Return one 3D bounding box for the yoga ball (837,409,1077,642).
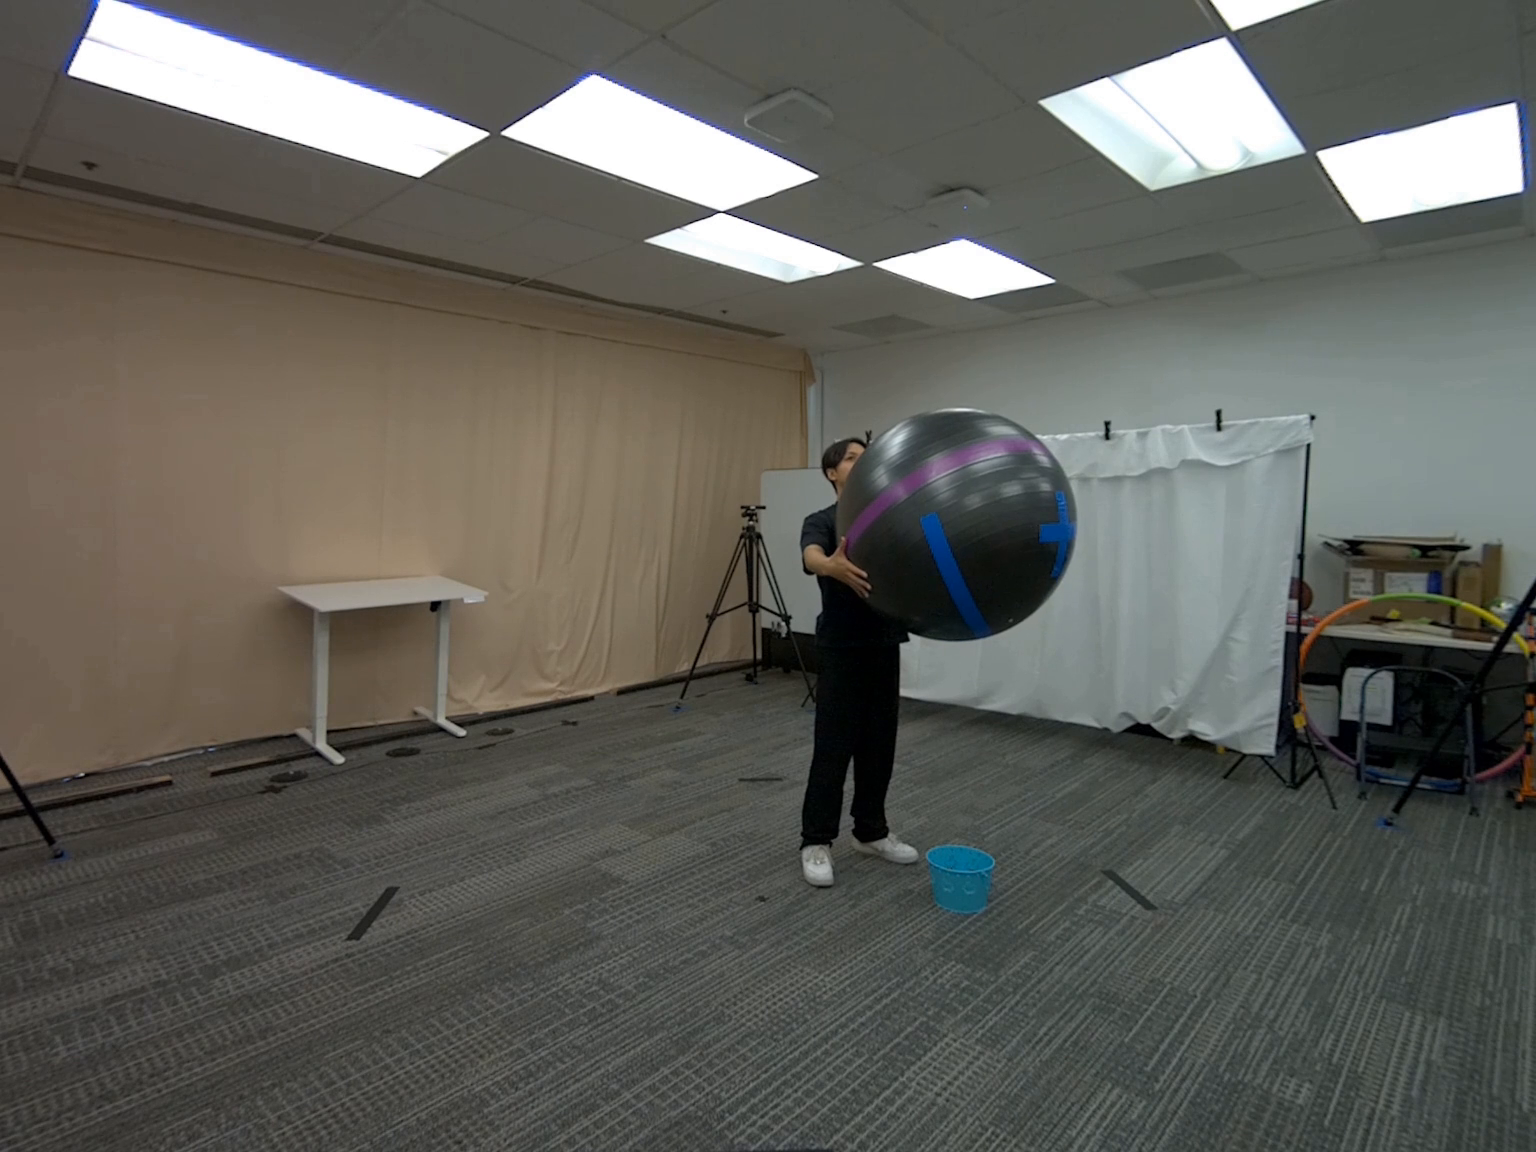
[{"bbox_3d":[0.613,-0.163,2.774,0.757,0.756,0.760,0,4,-2],"label":"yoga ball"}]
